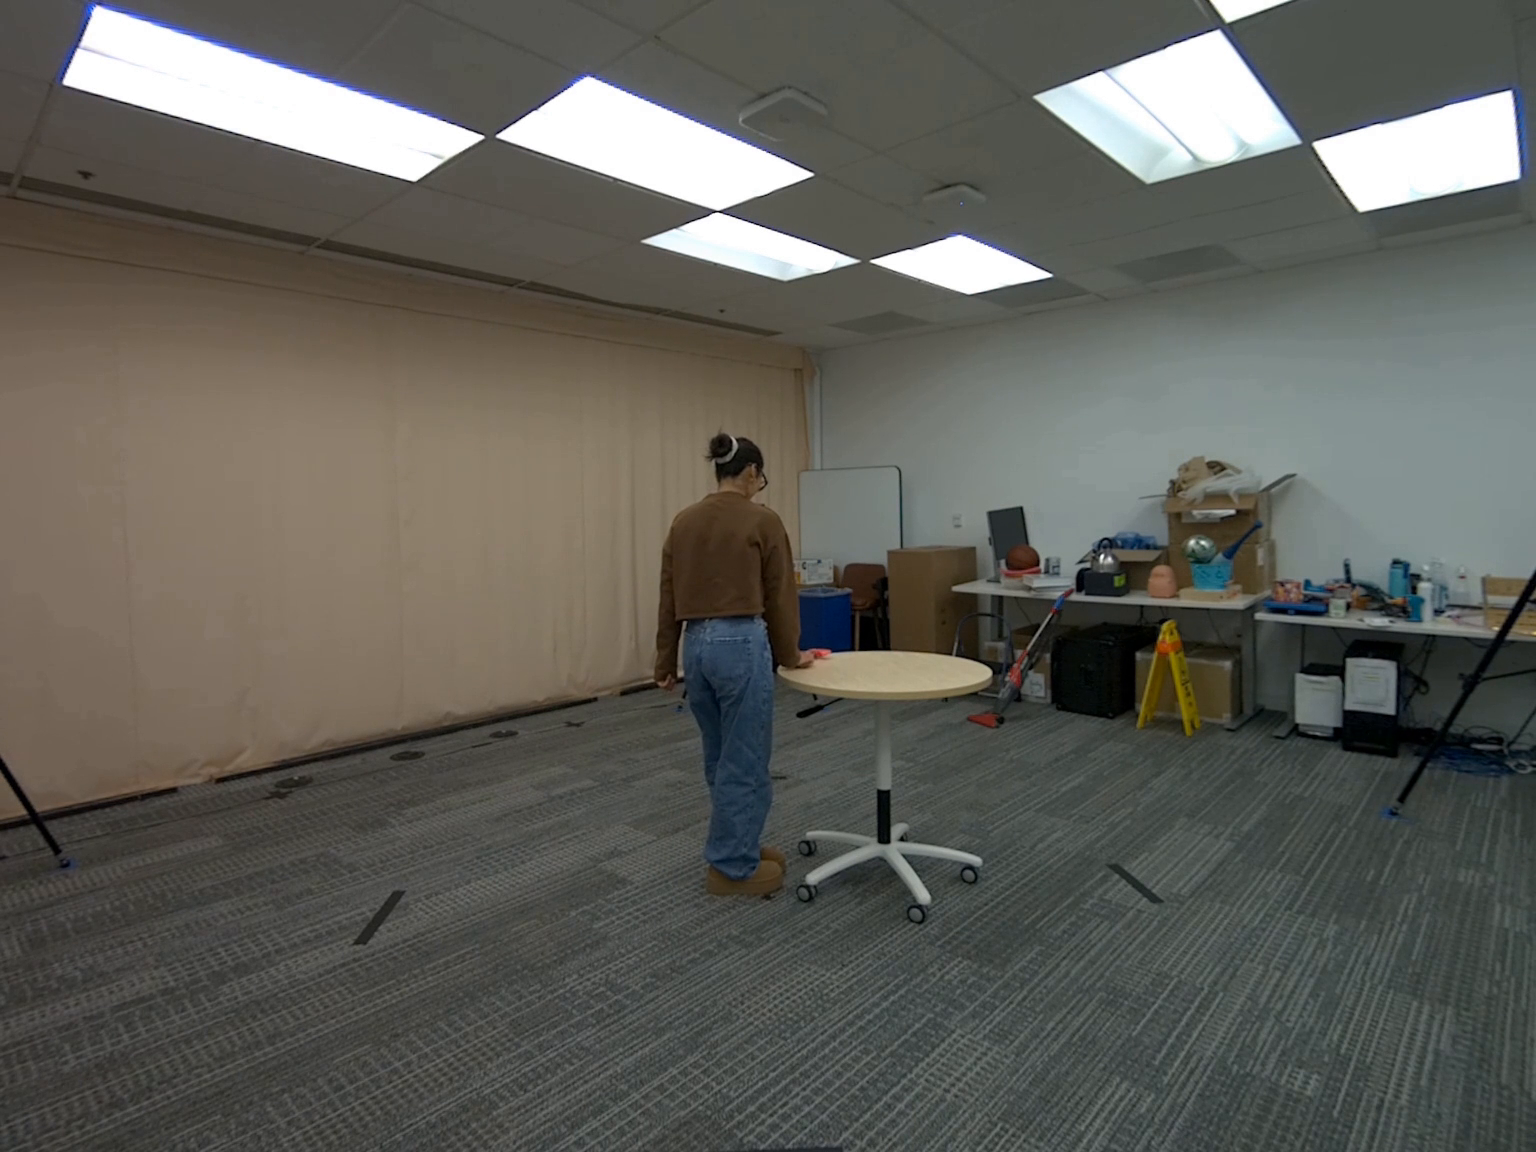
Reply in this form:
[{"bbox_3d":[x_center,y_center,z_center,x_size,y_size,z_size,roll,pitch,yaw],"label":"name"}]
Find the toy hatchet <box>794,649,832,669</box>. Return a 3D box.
[{"bbox_3d":[0.119,0.321,3.262,0.262,0.029,0.135,-10,10,-42],"label":"toy hatchet"}]
